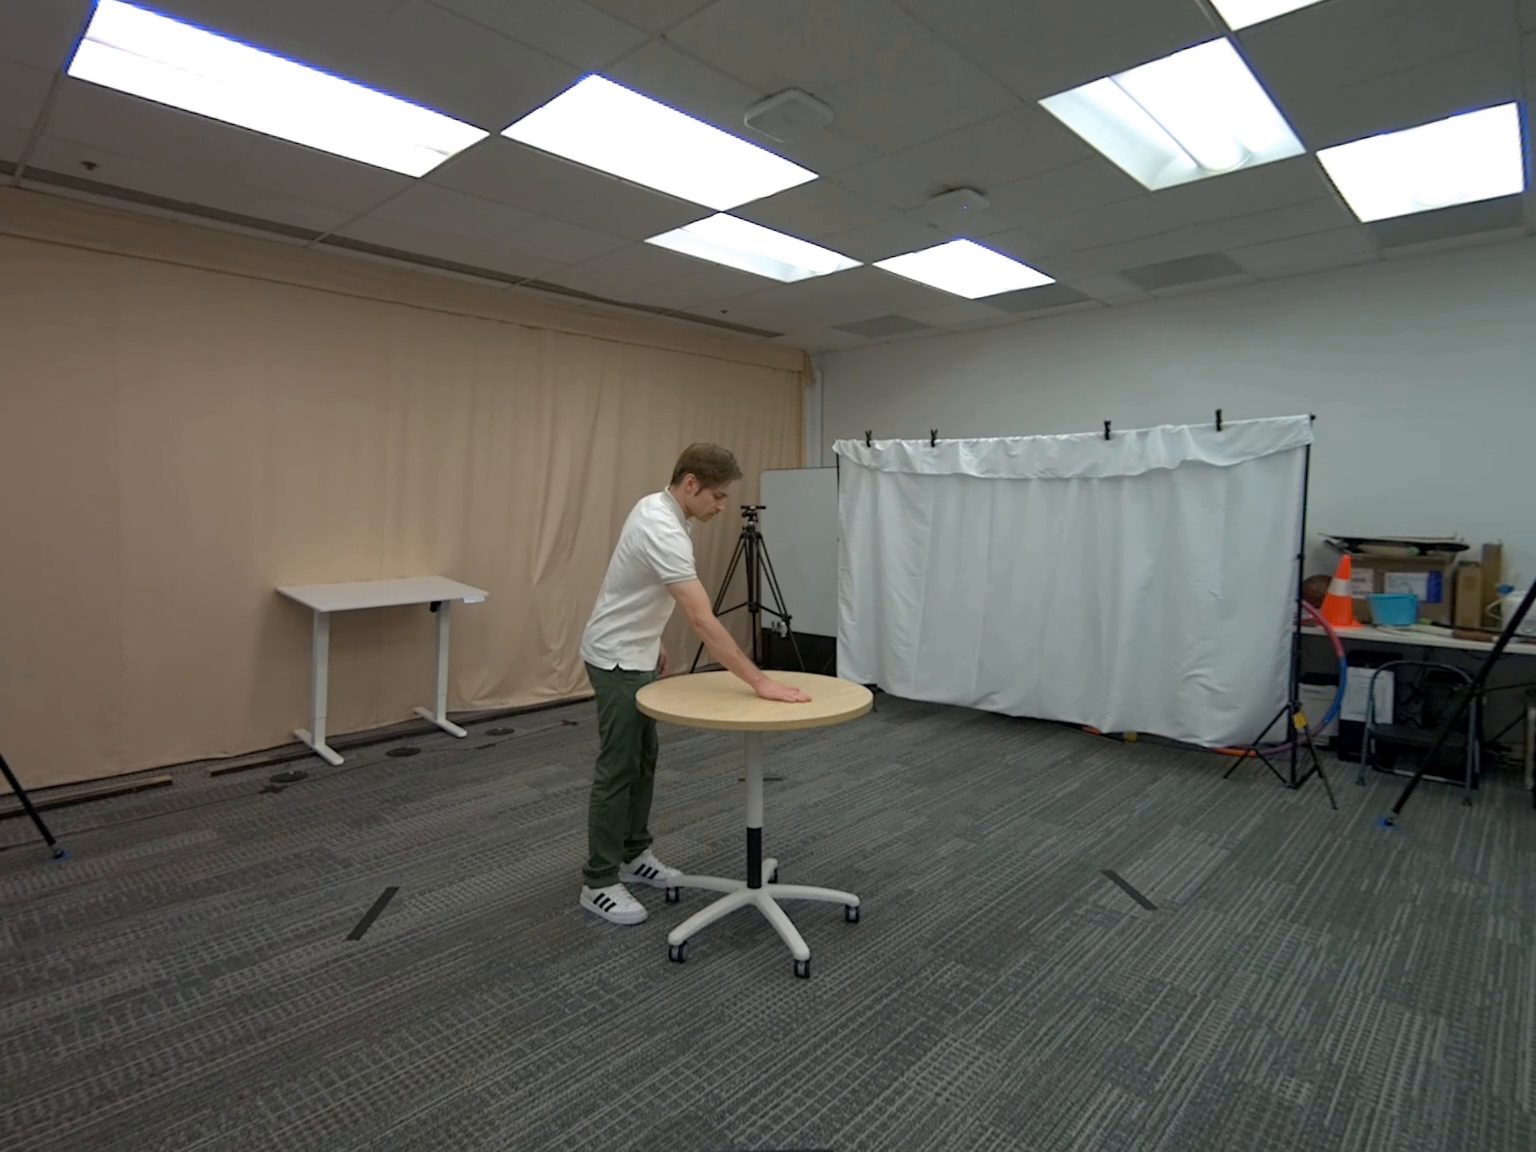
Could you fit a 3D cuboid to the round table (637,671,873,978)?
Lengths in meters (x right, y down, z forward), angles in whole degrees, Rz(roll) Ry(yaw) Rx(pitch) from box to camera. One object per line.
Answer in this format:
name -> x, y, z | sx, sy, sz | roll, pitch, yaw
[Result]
round table -> -0.036, 0.770, 2.745 | 0.784, 0.785, 0.787 | -1, 3, -2
